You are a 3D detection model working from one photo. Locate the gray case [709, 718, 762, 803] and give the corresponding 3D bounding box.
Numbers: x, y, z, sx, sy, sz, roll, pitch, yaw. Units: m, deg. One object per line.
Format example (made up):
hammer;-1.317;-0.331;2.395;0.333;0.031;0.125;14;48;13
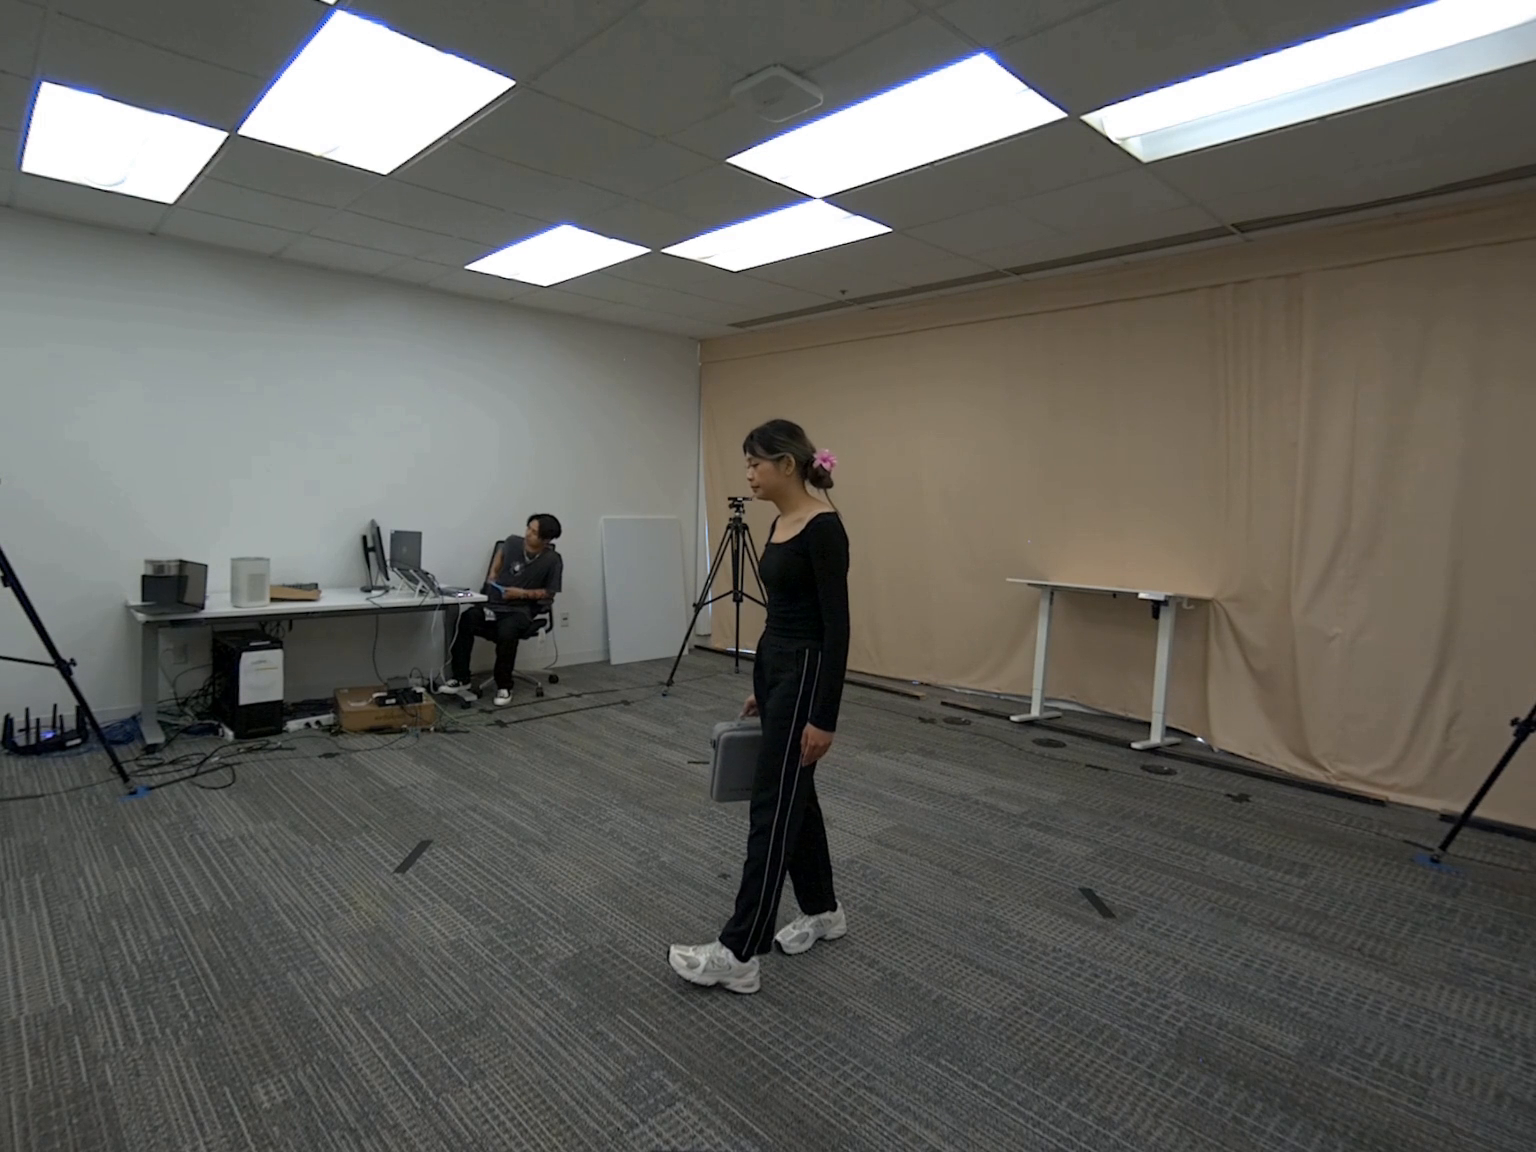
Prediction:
gray case;-0.062;0.608;2.767;0.253;0.258;0.106;1;12;-17
